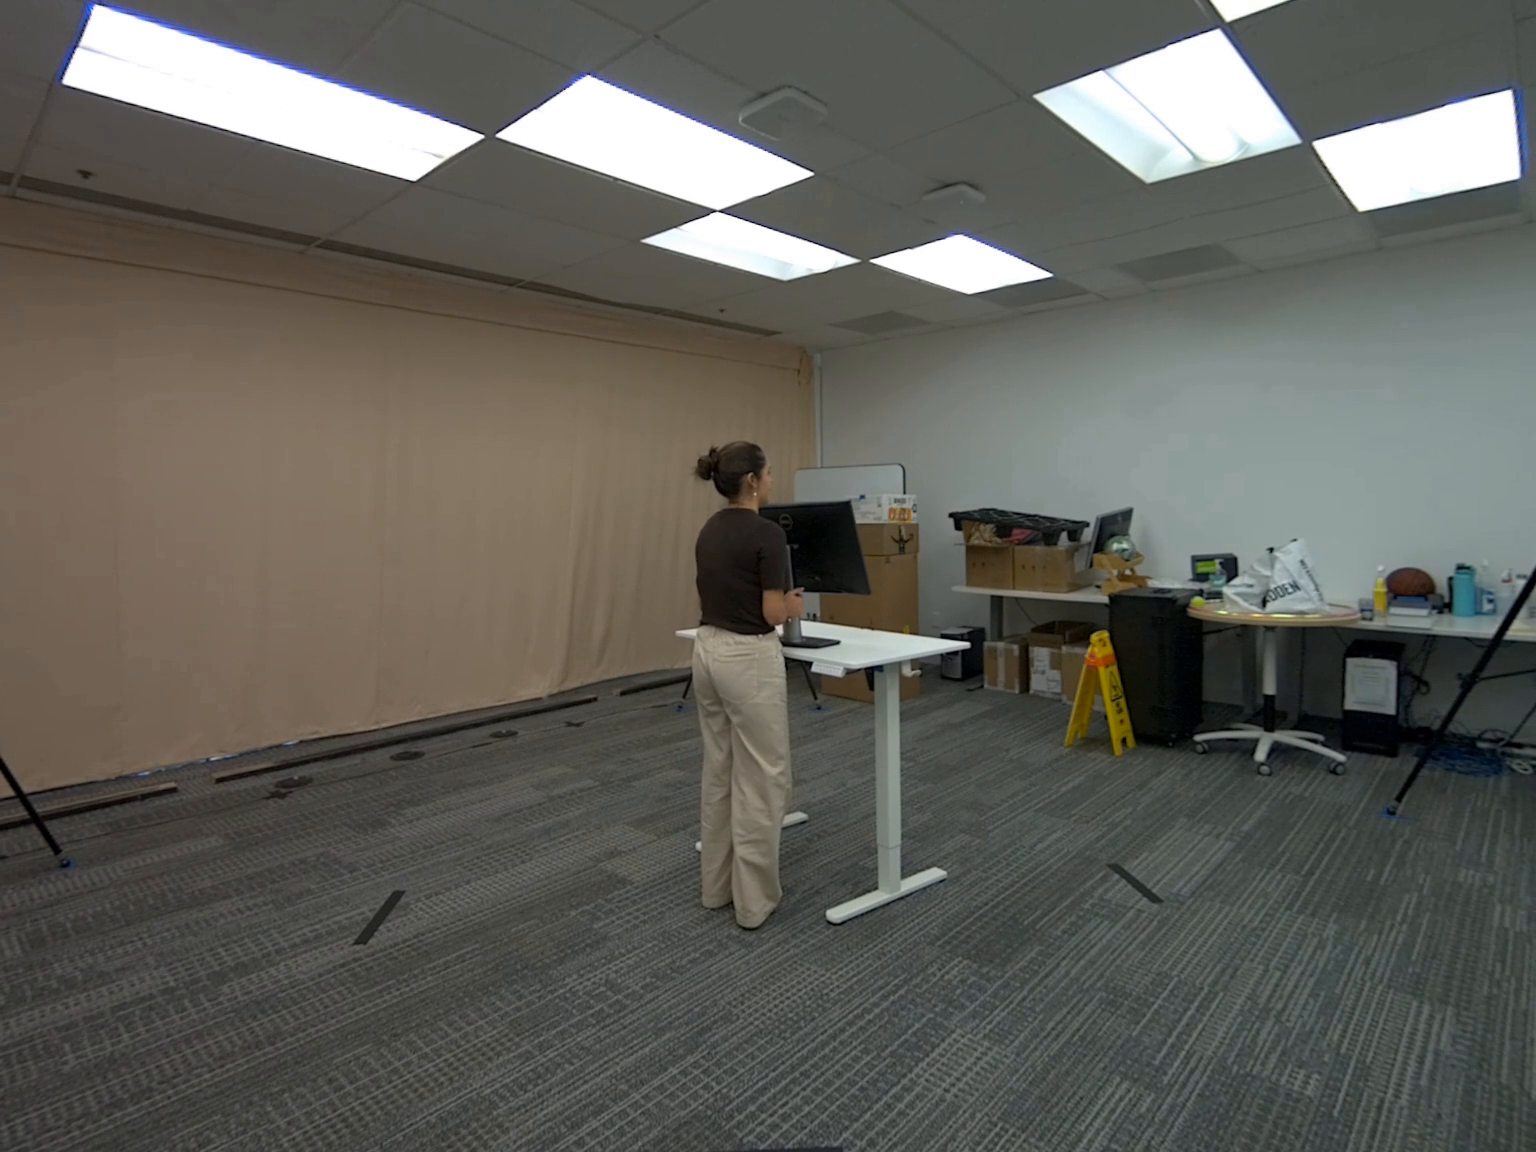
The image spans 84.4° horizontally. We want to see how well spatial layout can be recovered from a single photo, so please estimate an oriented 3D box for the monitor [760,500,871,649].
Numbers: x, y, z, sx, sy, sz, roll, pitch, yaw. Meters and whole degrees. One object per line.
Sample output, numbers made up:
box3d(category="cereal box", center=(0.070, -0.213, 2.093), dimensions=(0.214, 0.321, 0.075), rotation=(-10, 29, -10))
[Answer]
box3d(category="monitor", center=(0.100, -0.005, 3.063), dimensions=(0.556, 0.521, 0.182), rotation=(0, 6, 37))
